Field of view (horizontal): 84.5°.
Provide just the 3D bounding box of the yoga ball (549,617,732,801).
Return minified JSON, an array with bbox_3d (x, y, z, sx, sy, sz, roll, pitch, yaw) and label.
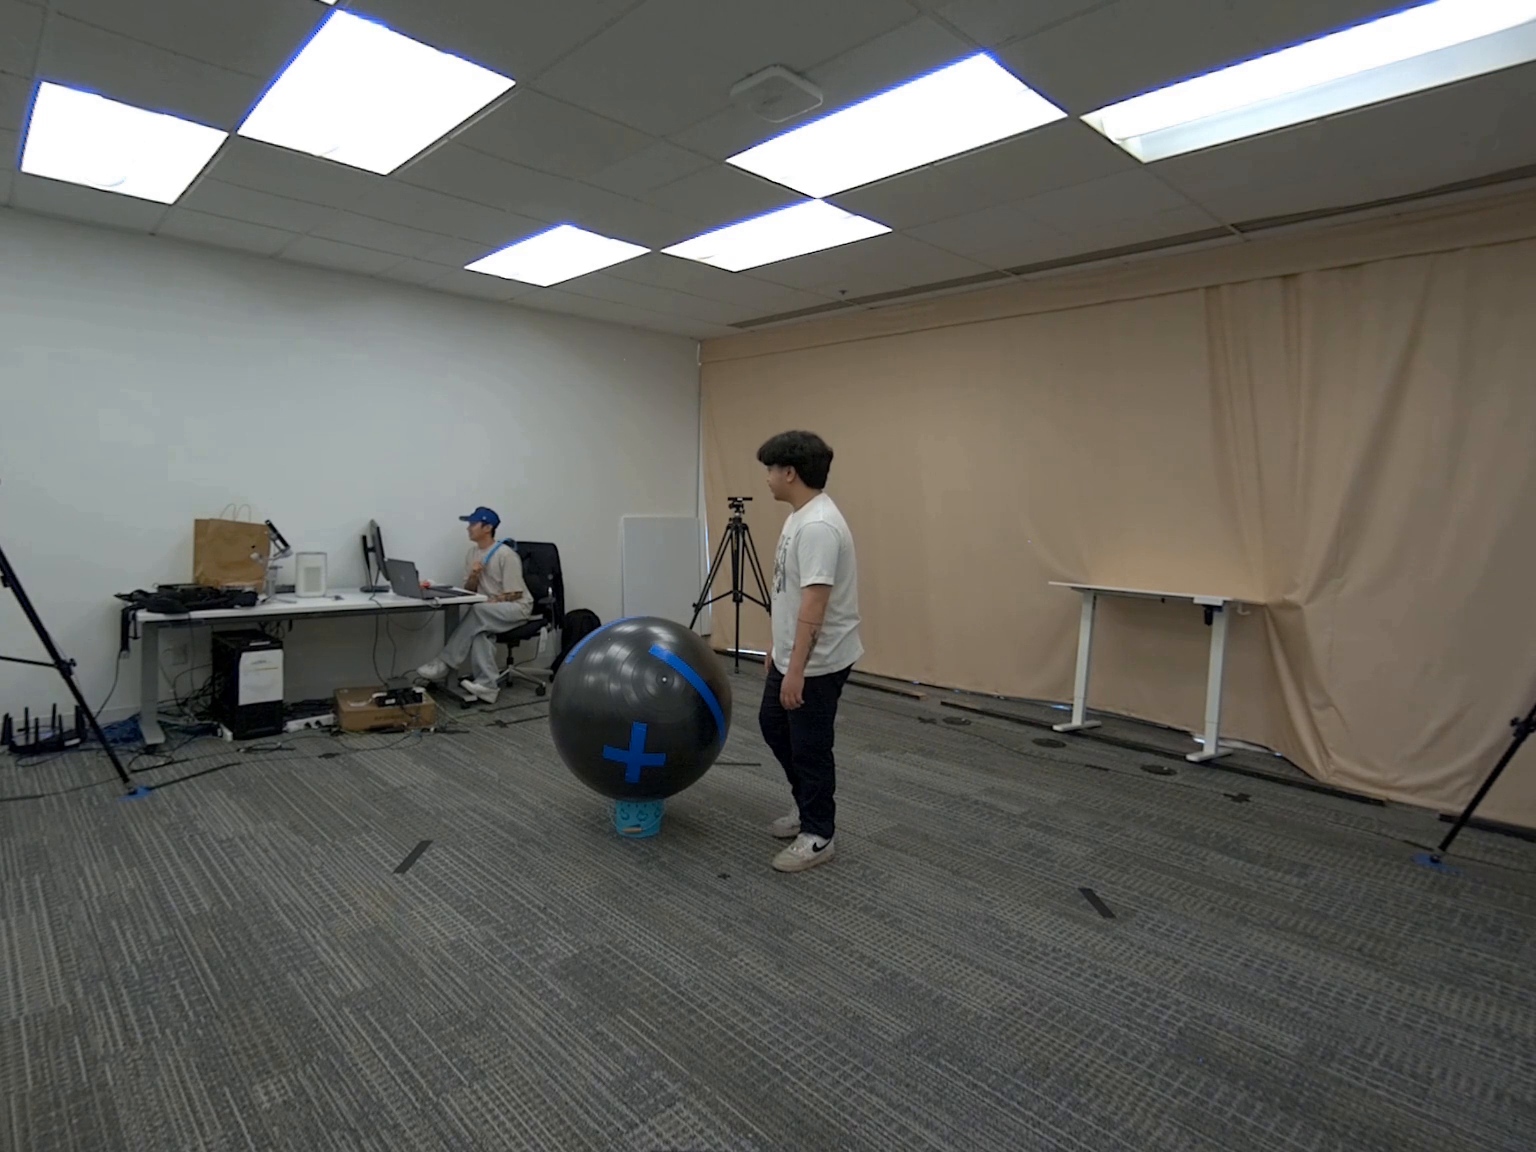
[{"bbox_3d":[-0.532,0.550,3.512,0.757,0.756,0.760,1,4,-1],"label":"yoga ball"}]
